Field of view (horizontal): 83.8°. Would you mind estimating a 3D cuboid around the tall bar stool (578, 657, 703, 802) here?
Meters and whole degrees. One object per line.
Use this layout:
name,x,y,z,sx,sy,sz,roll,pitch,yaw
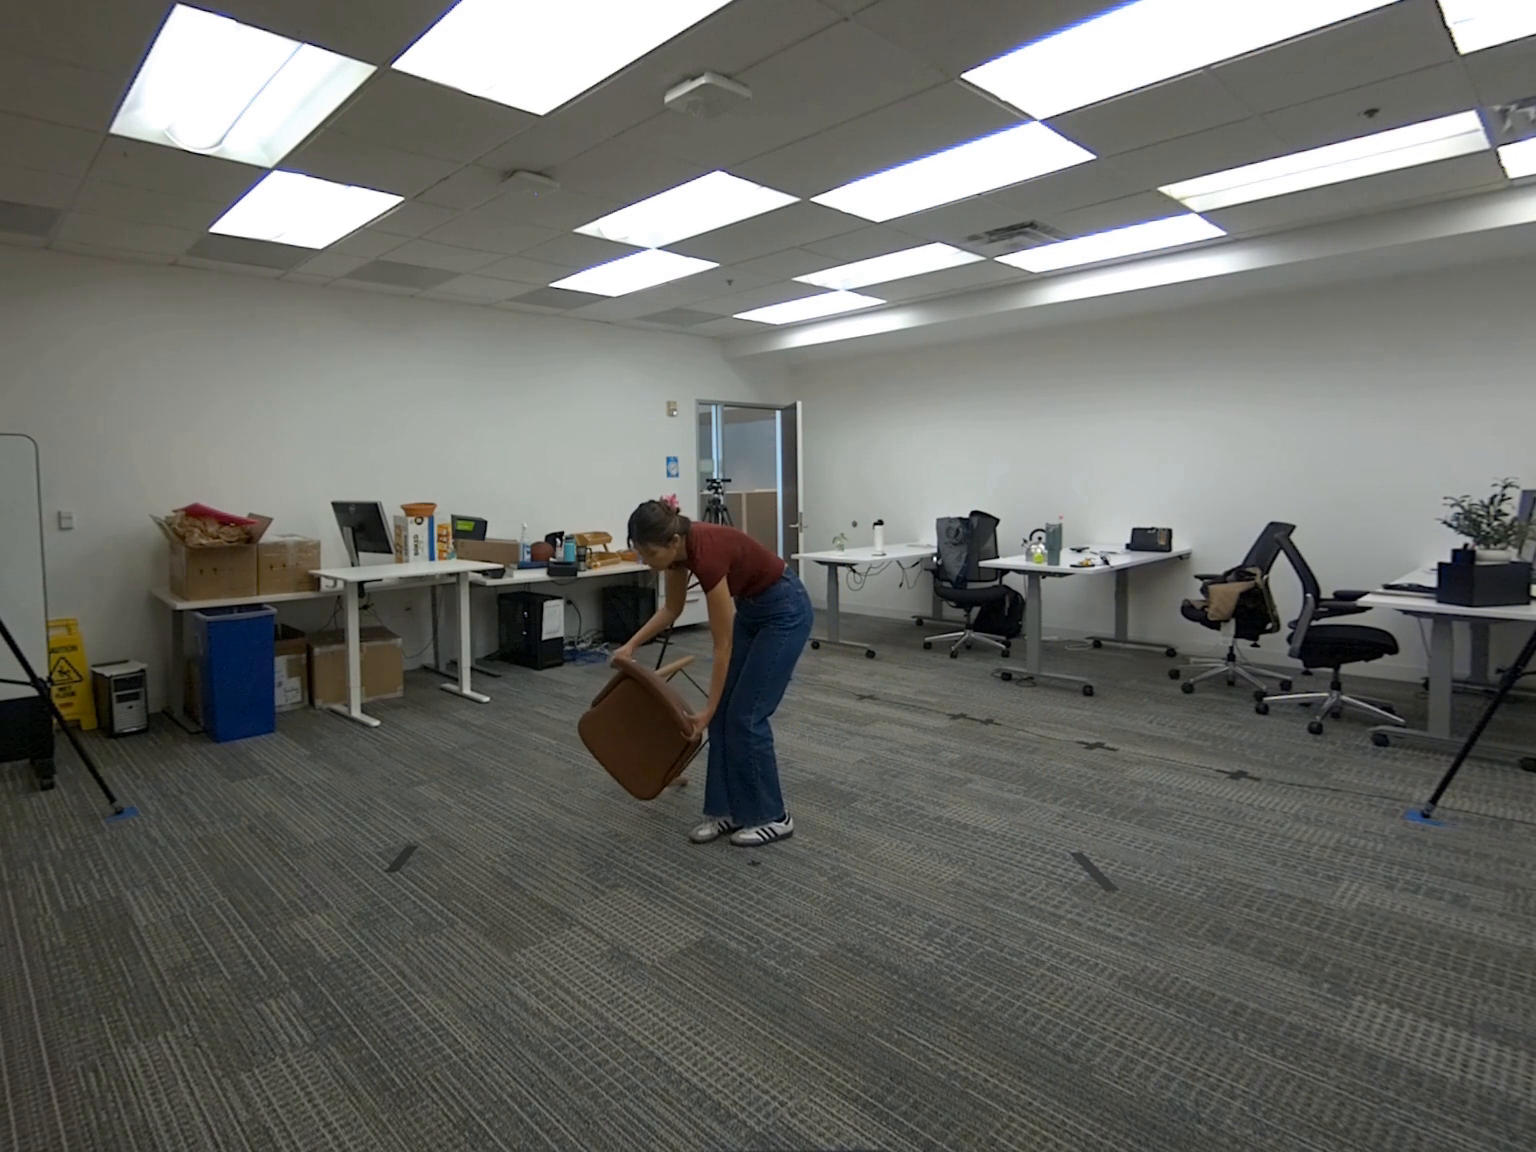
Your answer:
tall bar stool,-0.469,0.619,3.569,0.466,0.467,0.872,44,4,13
